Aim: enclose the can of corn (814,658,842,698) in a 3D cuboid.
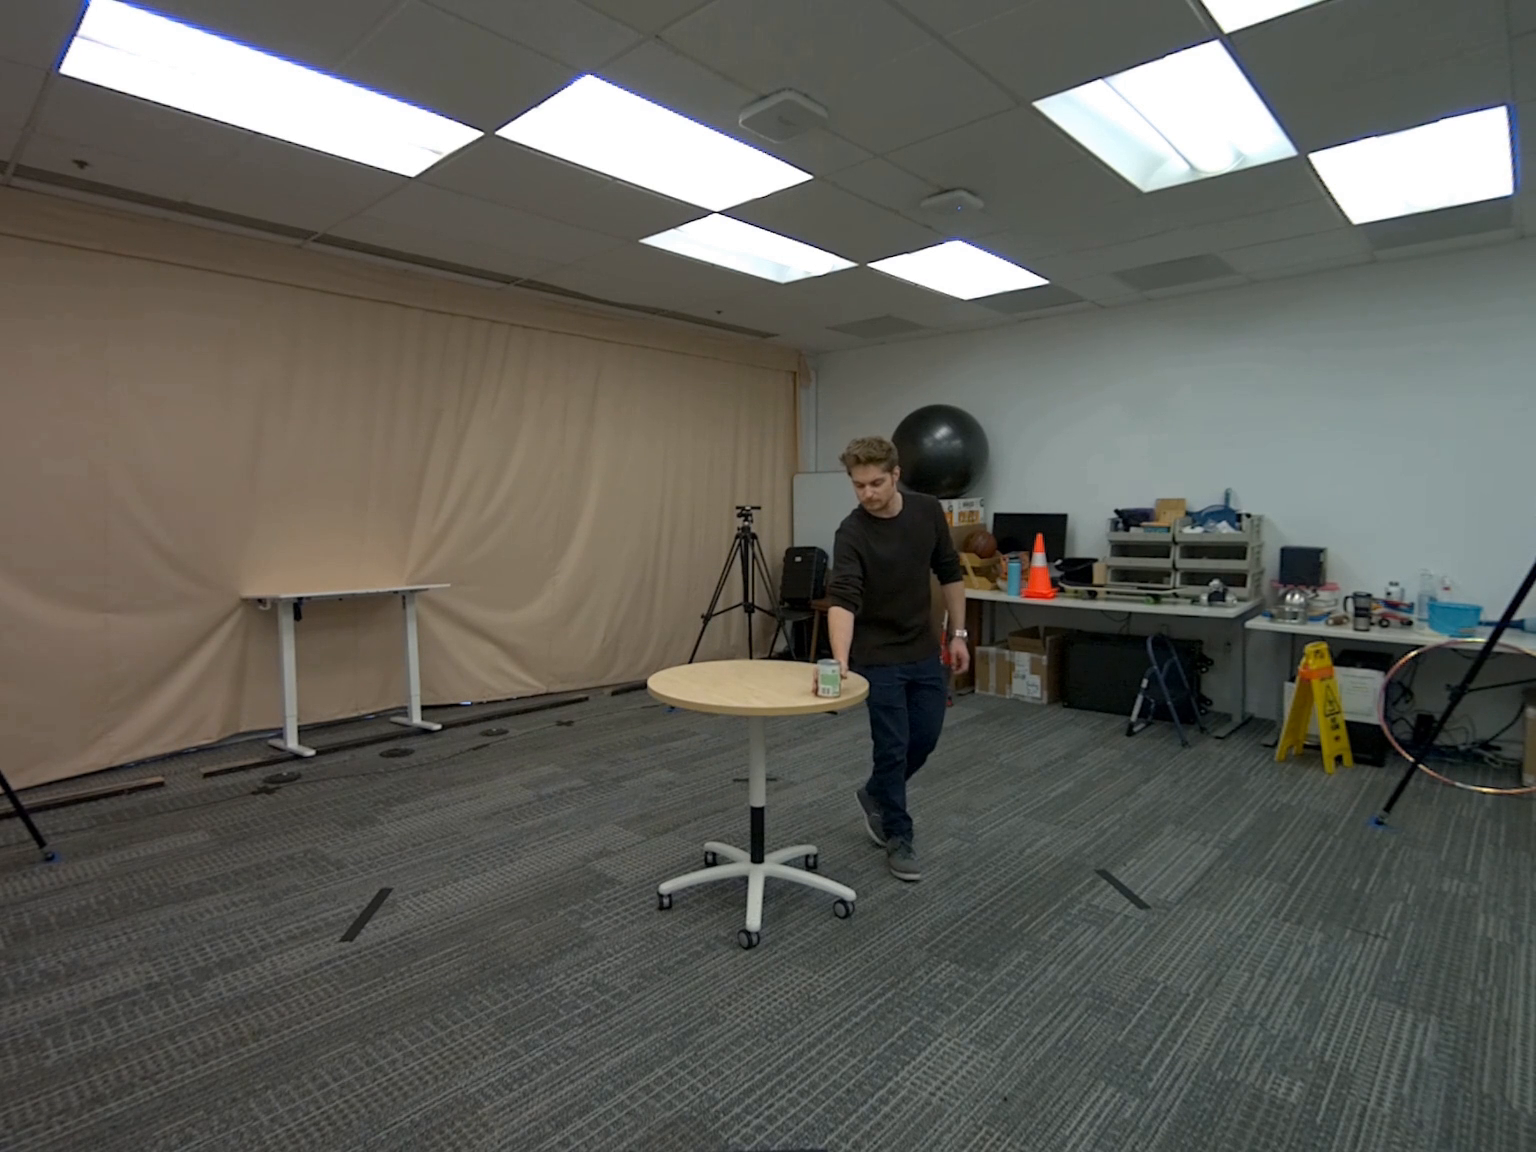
[{"bbox_3d":[0.198,0.329,2.691,0.074,0.111,0.074,2,4,-2],"label":"can of corn"}]
